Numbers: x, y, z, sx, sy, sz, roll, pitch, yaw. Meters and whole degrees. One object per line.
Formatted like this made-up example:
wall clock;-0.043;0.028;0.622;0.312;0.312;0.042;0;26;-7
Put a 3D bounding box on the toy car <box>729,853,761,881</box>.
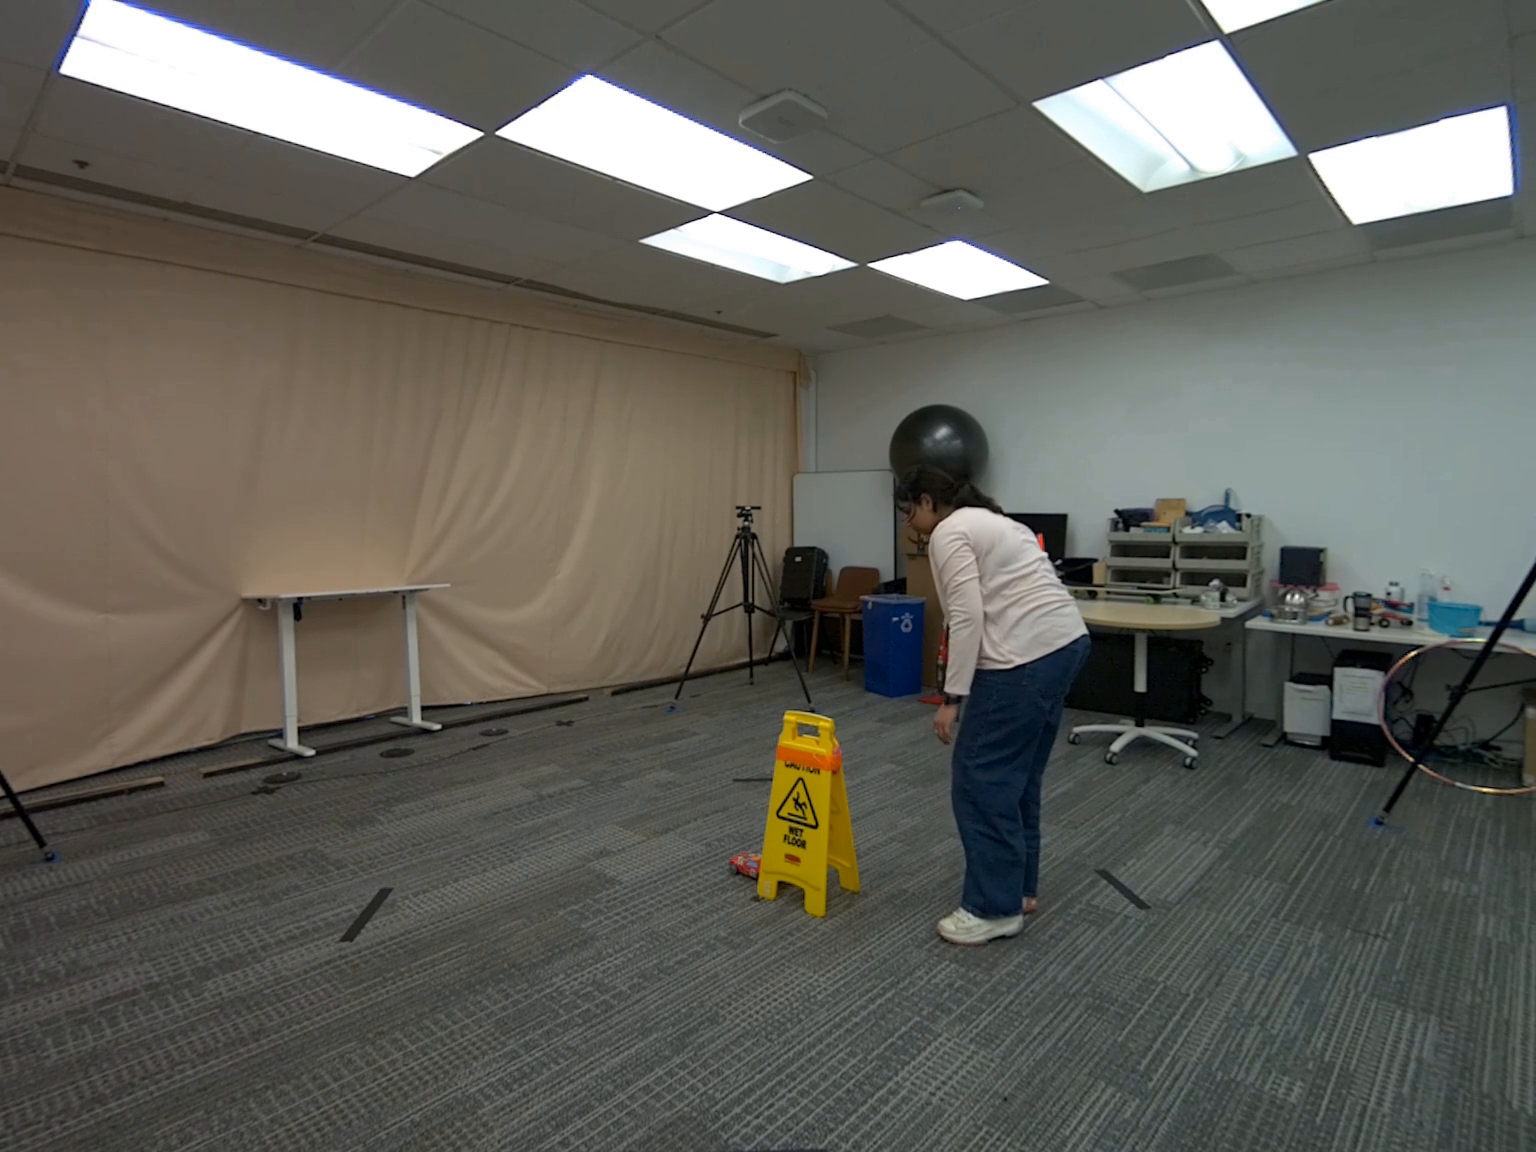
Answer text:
toy car;-0.024;1.103;3.160;0.262;0.083;0.126;-8;-3;42
